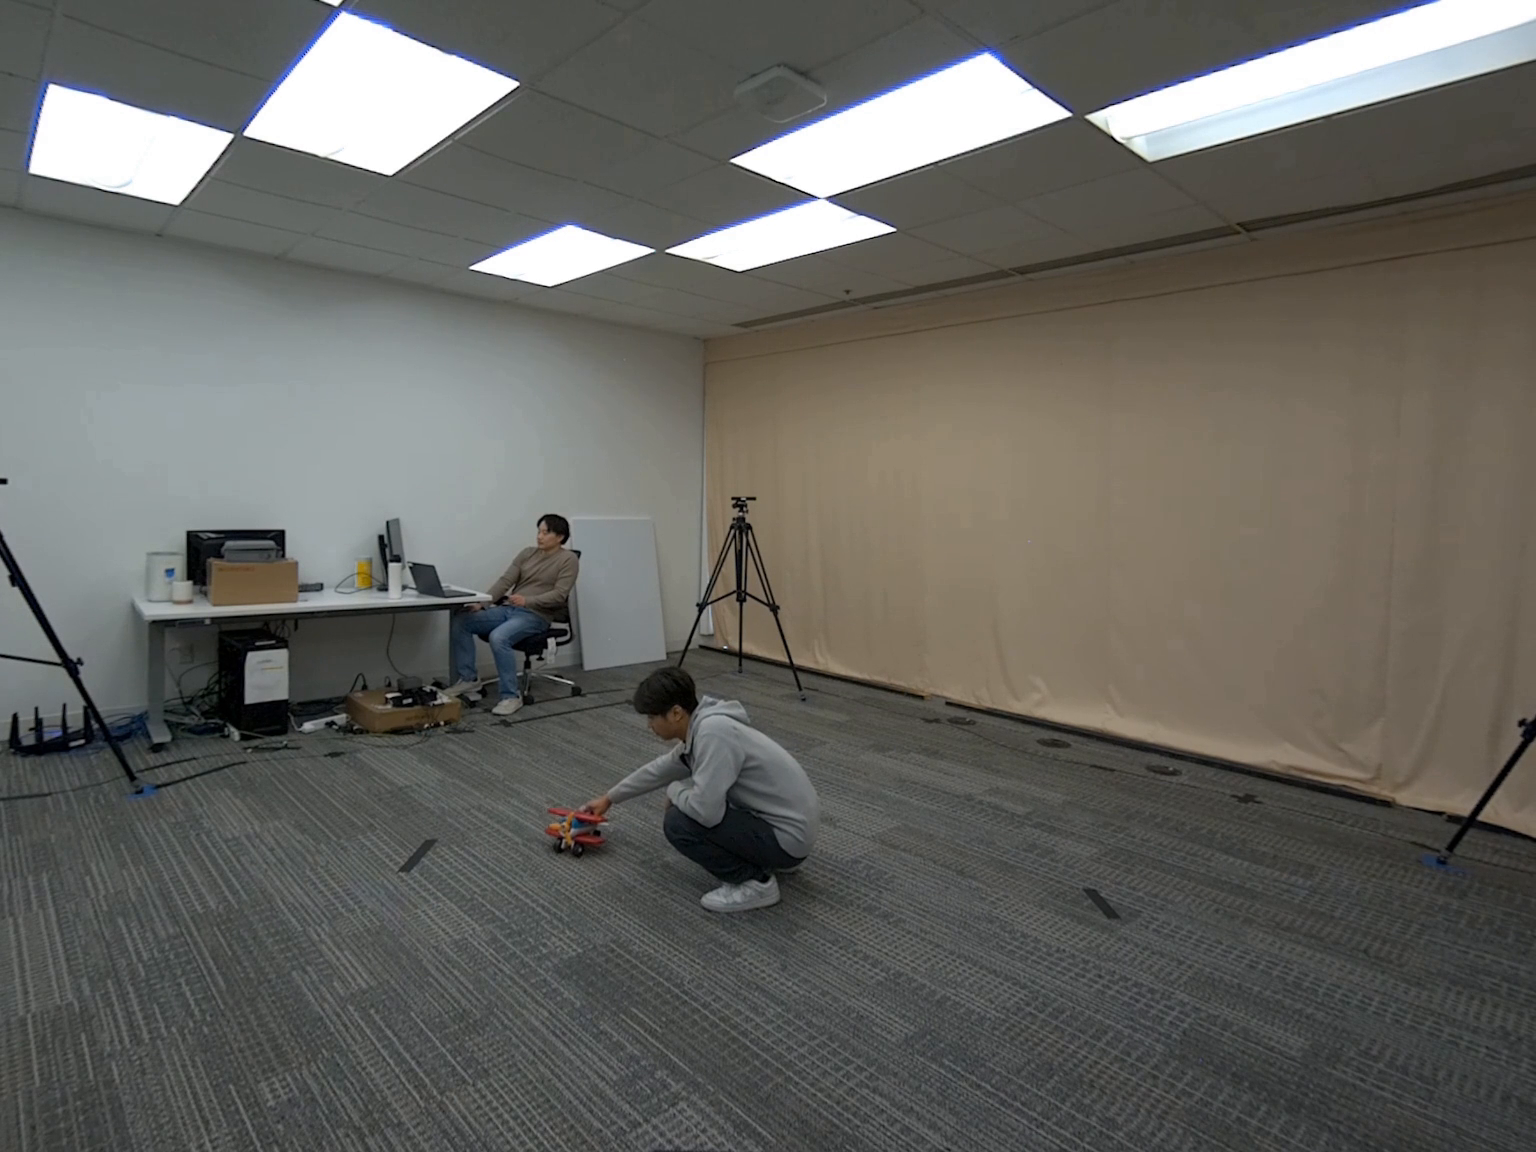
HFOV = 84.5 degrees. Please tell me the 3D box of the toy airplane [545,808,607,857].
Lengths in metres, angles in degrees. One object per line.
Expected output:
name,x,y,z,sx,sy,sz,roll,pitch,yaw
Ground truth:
toy airplane,-0.764,0.990,3.341,0.250,0.156,0.261,1,6,-7
